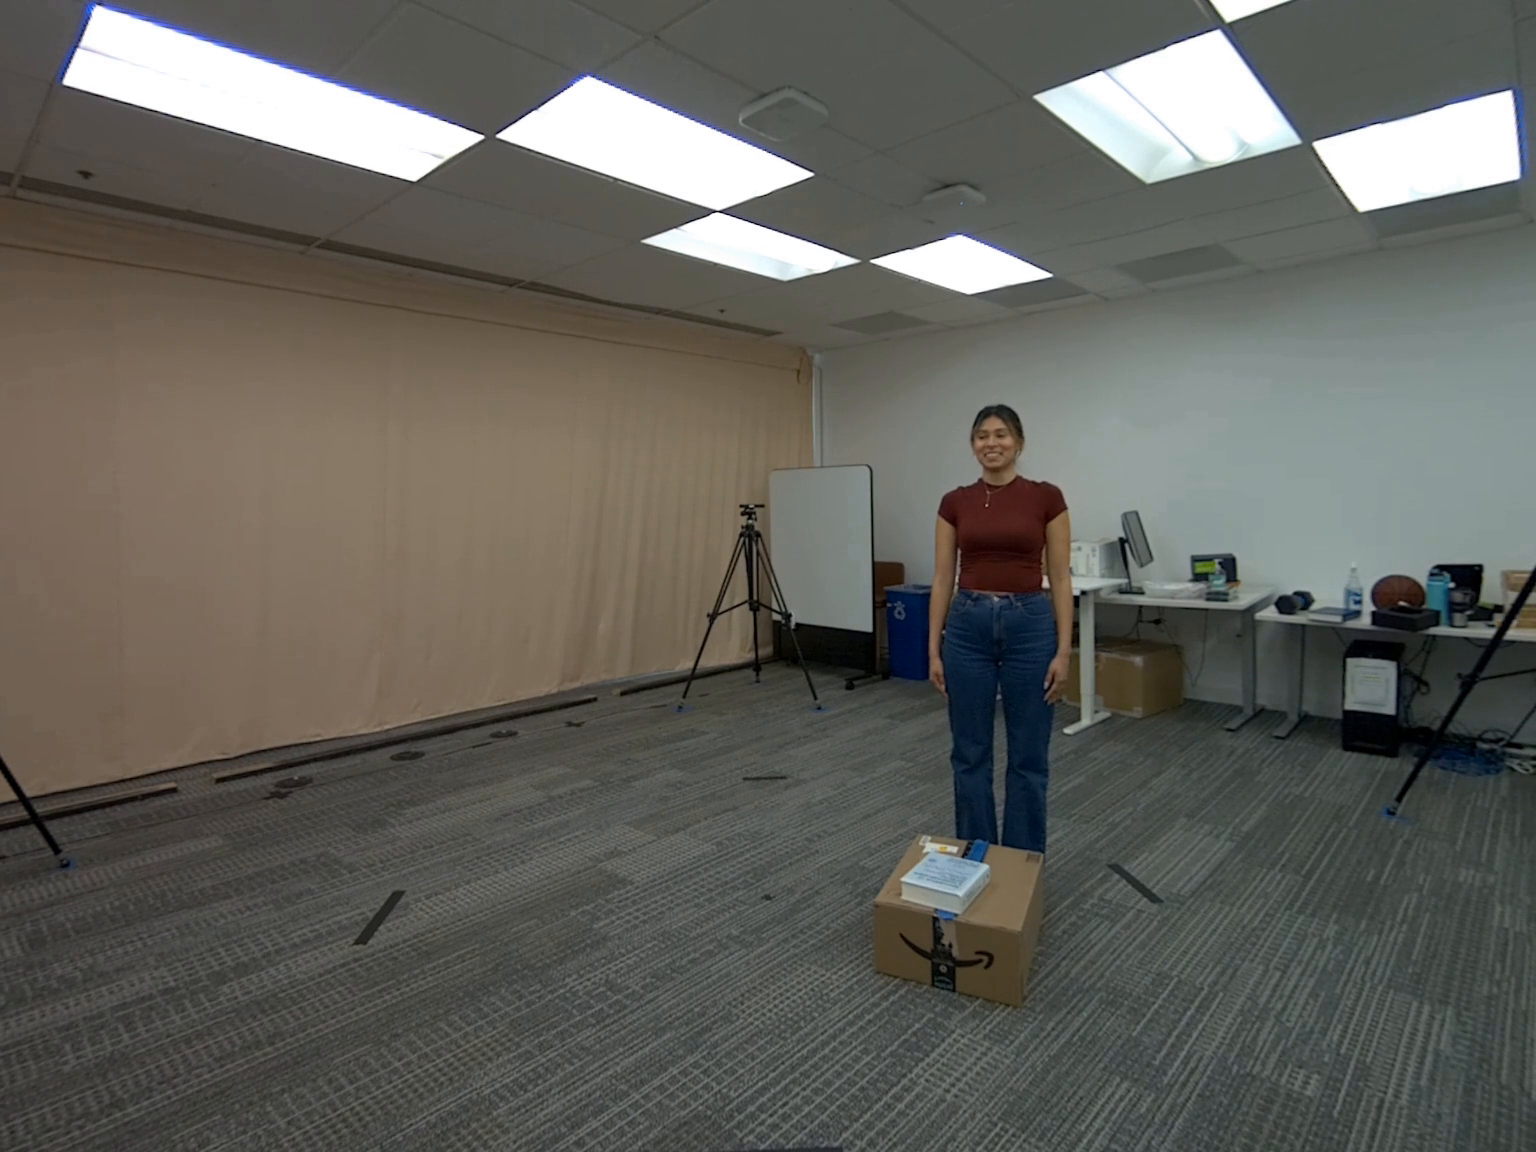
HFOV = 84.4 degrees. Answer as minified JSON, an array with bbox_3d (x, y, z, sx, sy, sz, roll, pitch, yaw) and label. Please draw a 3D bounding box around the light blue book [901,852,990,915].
[{"bbox_3d":[0.543,0.920,2.560,0.197,0.059,0.254,2,4,32],"label":"light blue book"}]
